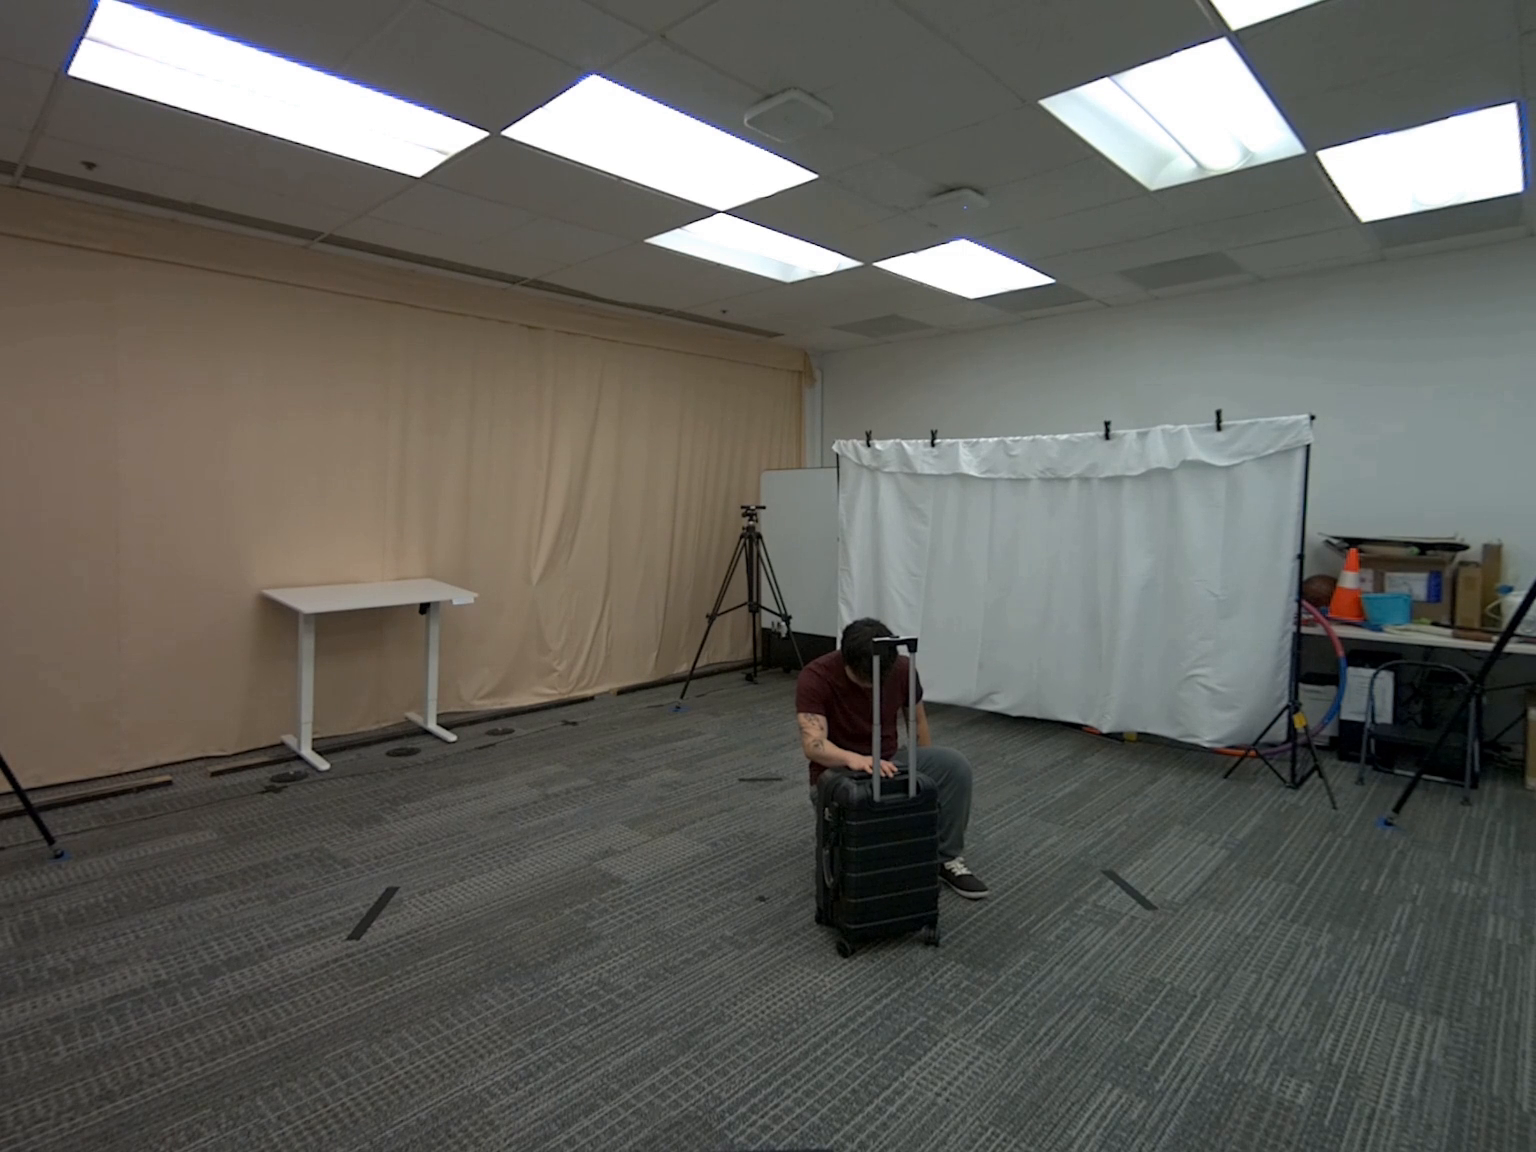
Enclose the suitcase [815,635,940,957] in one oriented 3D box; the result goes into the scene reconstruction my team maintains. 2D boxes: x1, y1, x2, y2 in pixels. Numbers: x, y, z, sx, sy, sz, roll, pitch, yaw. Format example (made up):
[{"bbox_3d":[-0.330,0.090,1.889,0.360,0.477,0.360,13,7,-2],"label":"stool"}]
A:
[{"bbox_3d":[0.350,0.682,2.717,0.377,0.977,0.262,0,2,-17],"label":"suitcase"}]
